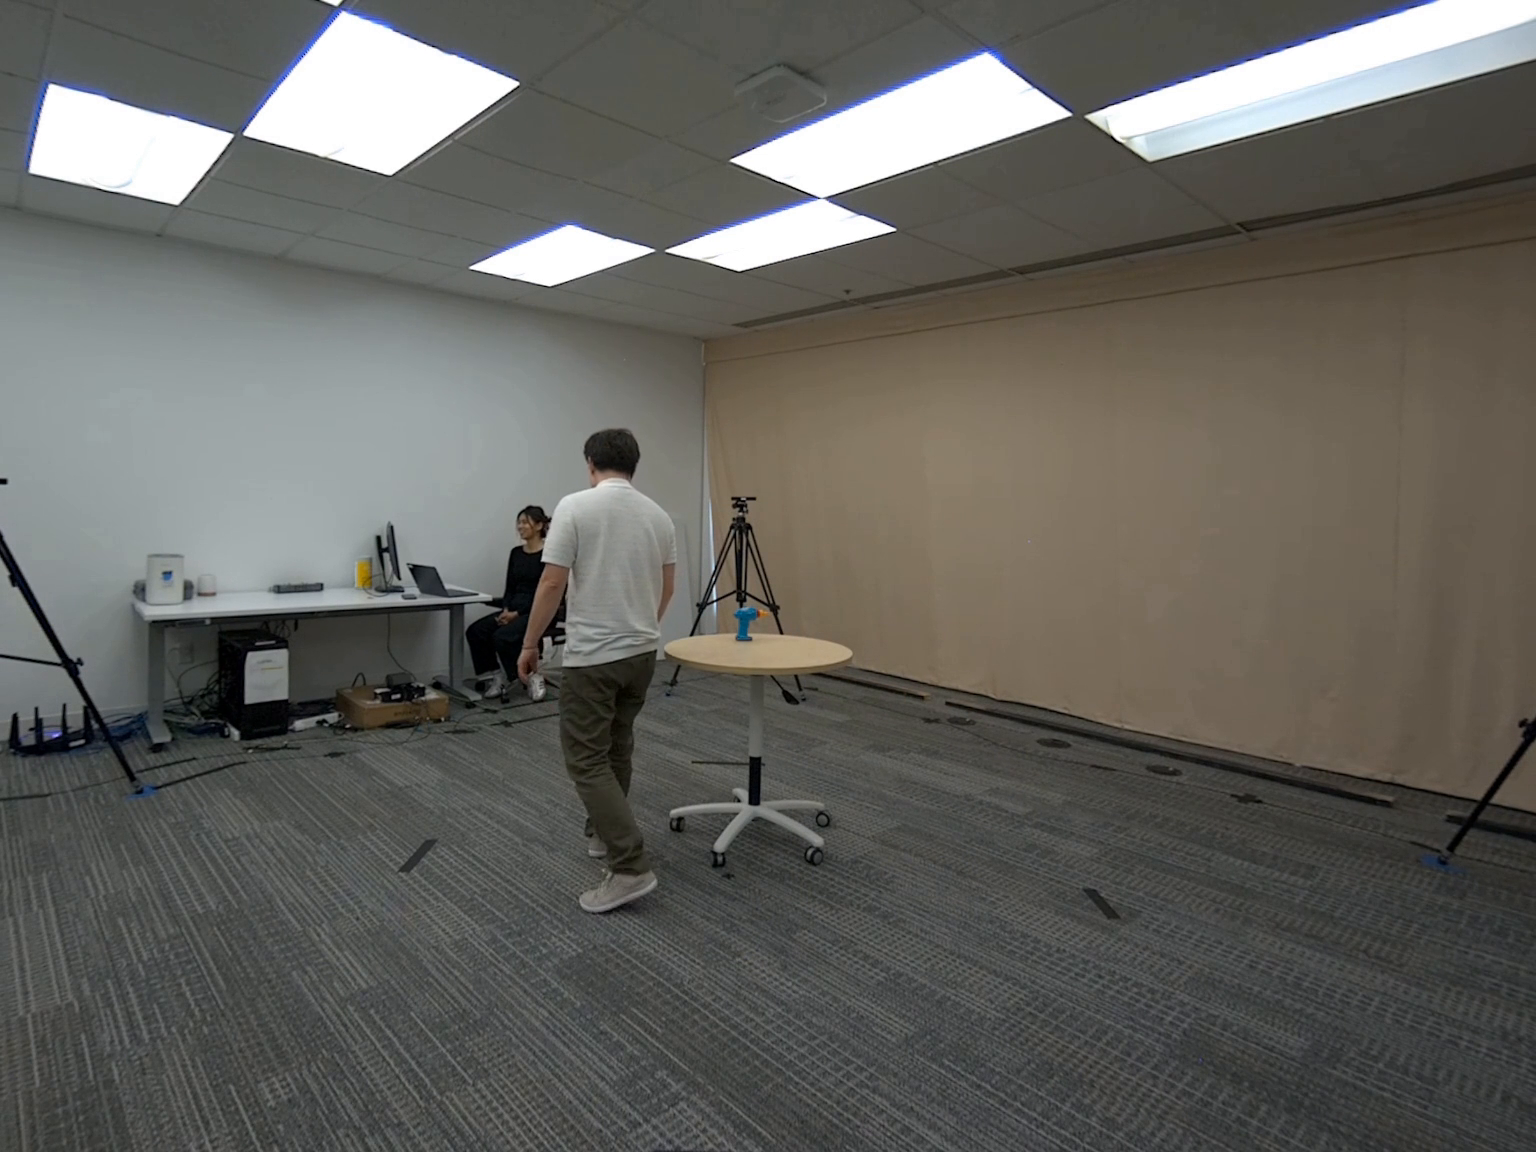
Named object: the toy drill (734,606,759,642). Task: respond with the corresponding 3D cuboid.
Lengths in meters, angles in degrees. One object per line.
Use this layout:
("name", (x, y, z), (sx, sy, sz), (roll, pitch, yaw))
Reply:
("toy drill", (-0.084, 0.203, 3.639), (0.166, 0.145, 0.062), (-2, 4, -27))
